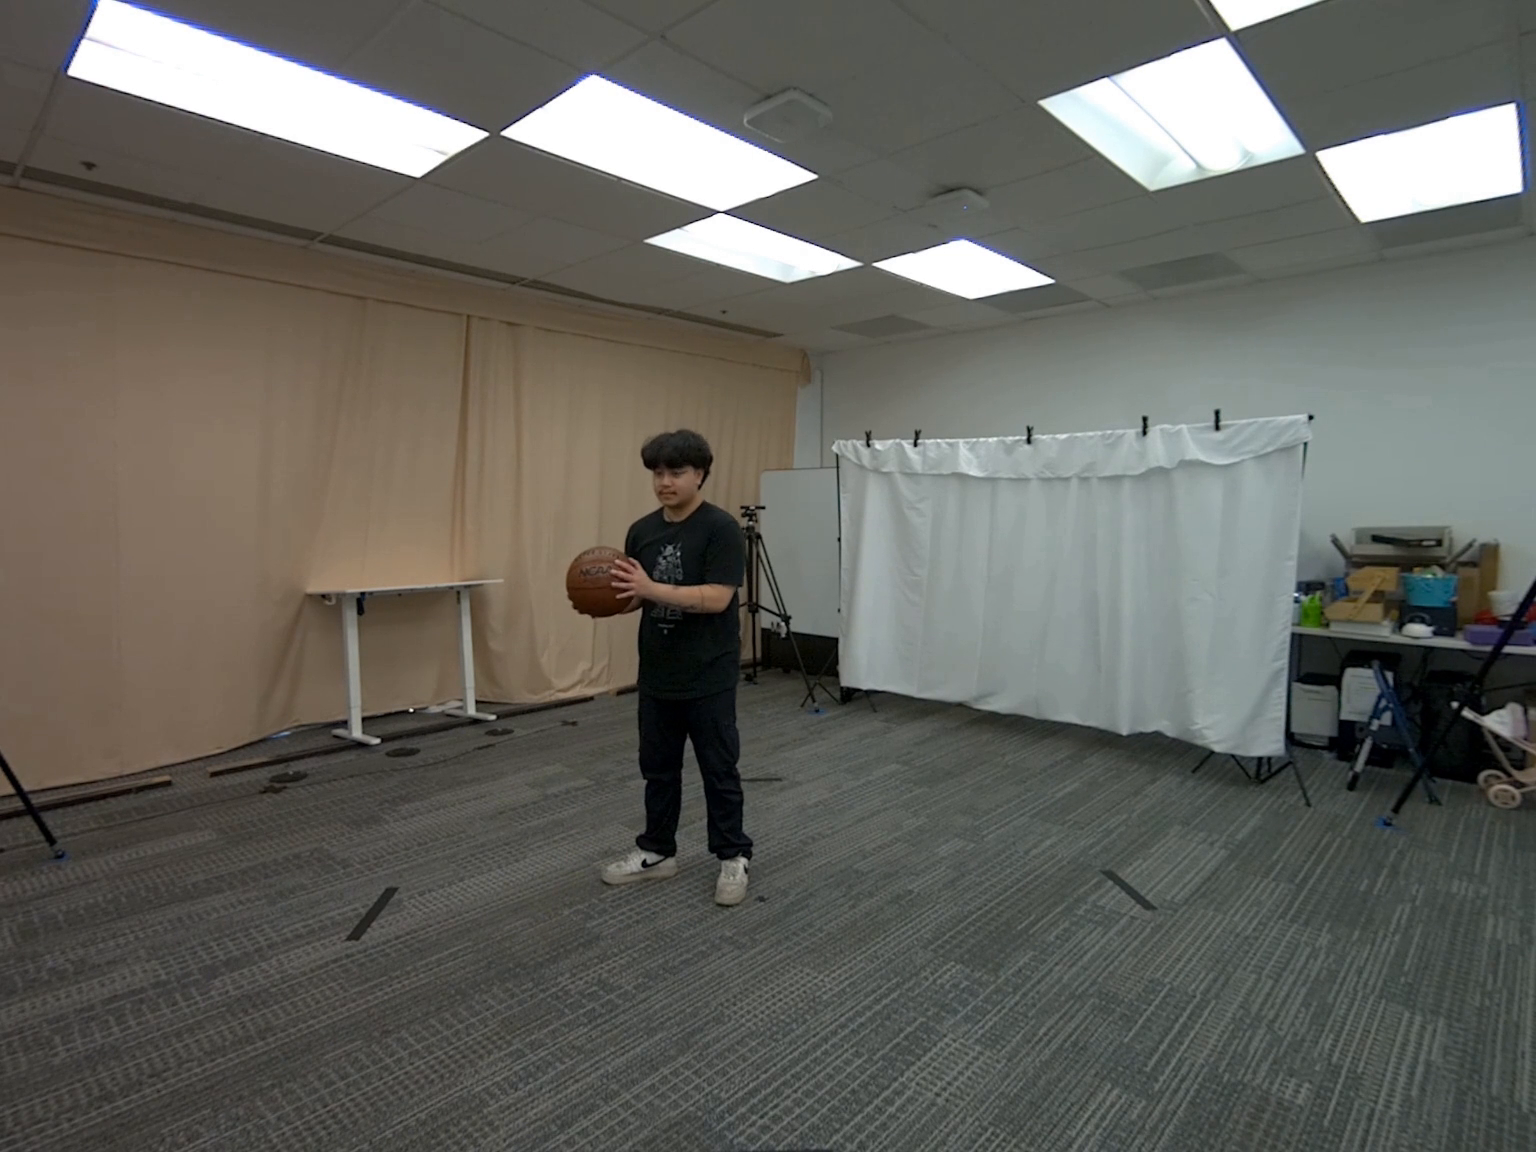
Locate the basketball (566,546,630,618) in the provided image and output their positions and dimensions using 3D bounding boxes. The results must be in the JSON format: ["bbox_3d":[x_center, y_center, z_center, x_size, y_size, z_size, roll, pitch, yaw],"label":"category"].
[{"bbox_3d":[-0.556,0.022,2.828,0.236,0.235,0.237,0,4,-2],"label":"basketball"}]
